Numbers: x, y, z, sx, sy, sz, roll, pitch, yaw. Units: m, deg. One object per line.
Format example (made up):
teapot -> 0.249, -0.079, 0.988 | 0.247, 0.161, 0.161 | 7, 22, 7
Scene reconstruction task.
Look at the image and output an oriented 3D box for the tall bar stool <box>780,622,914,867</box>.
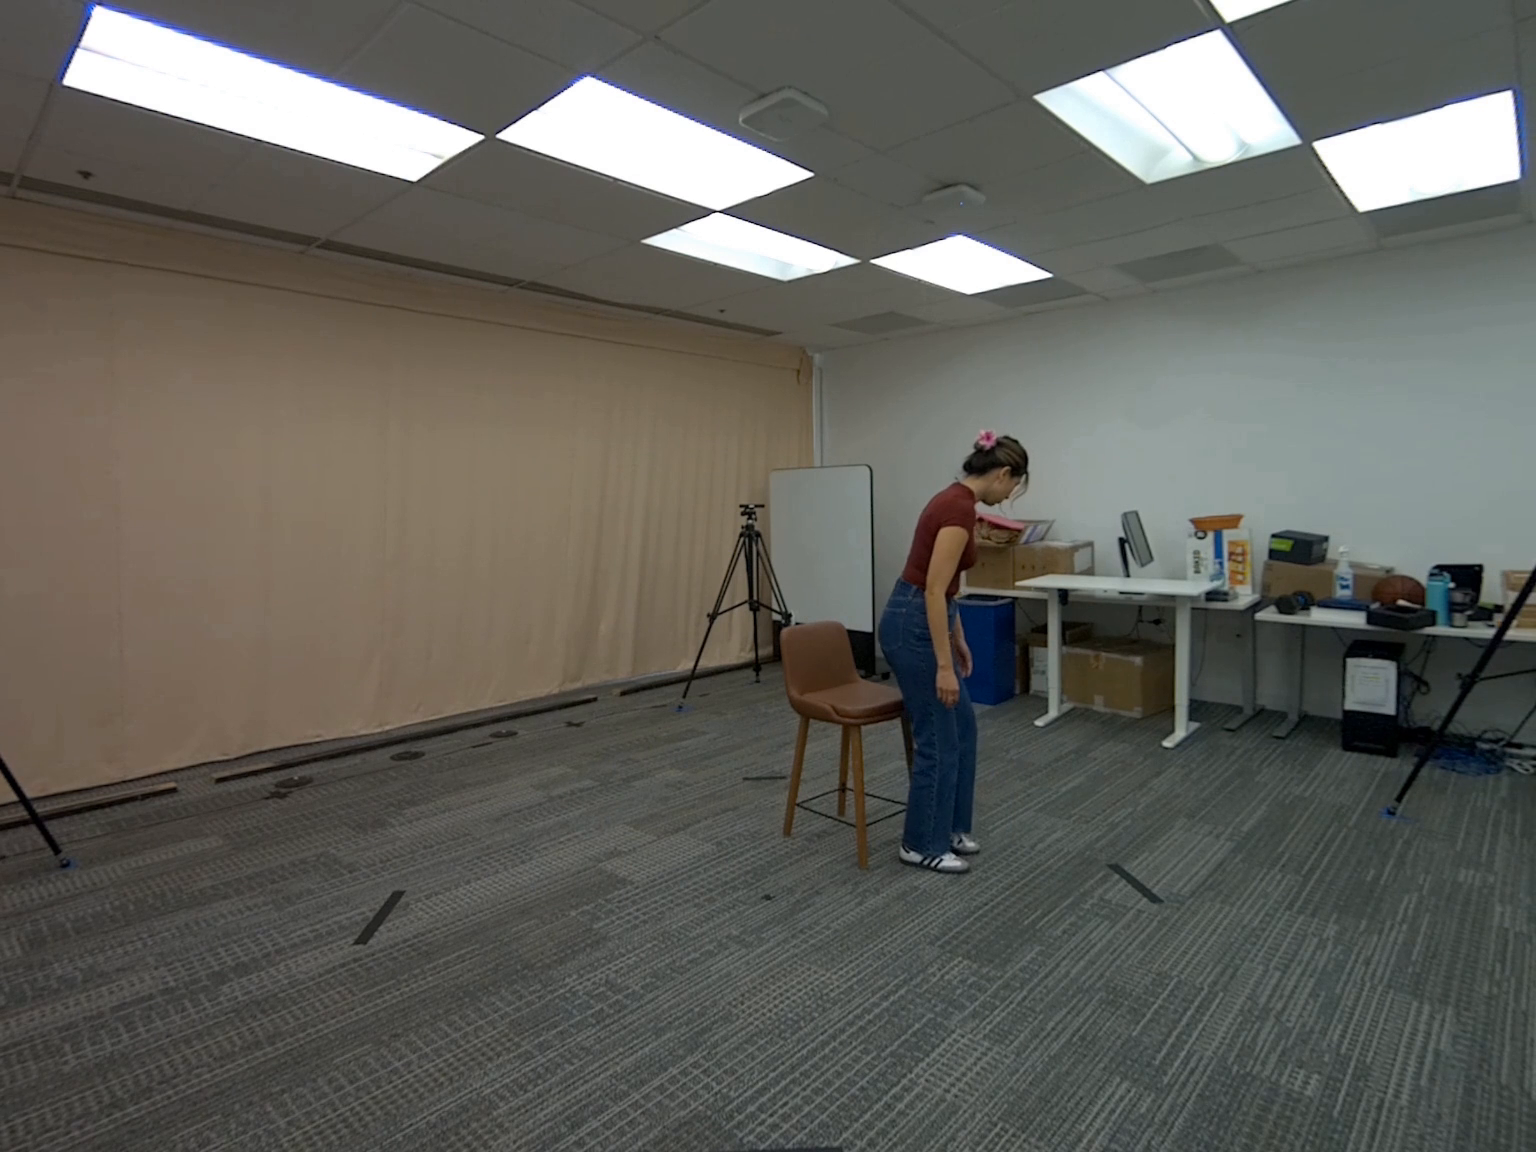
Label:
tall bar stool -> 0.343, 0.655, 3.477 | 0.442, 0.889, 0.482 | -3, 2, -42
